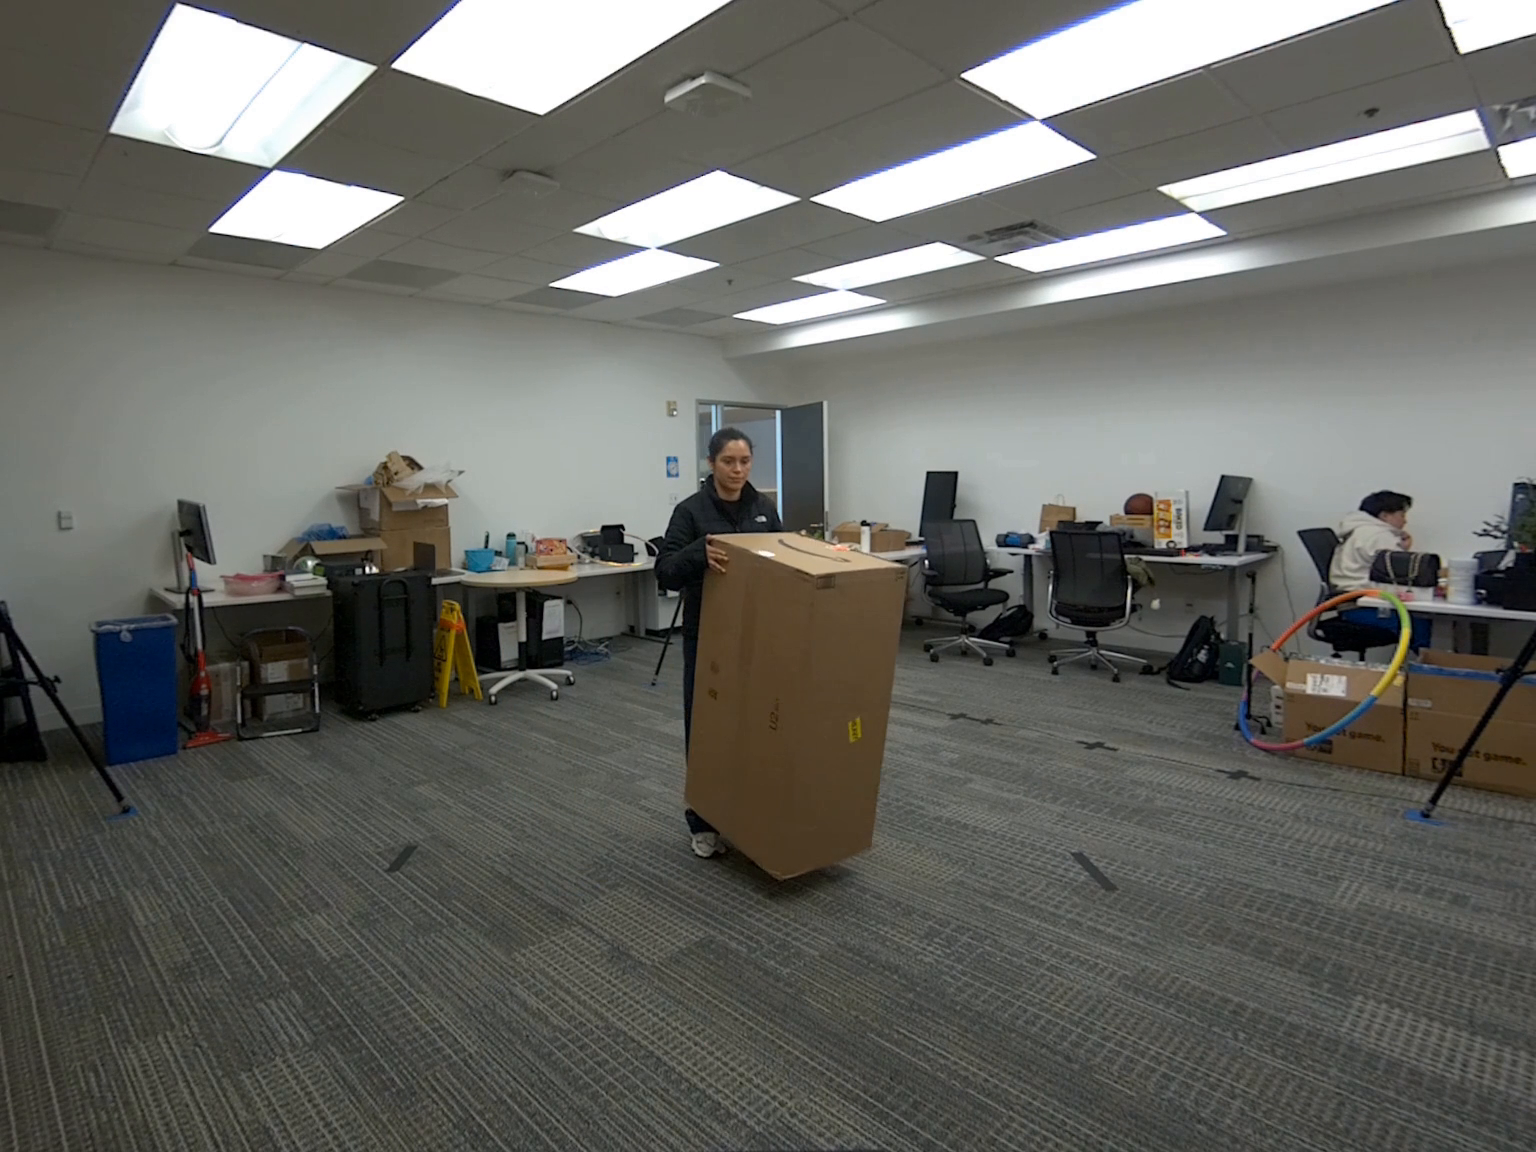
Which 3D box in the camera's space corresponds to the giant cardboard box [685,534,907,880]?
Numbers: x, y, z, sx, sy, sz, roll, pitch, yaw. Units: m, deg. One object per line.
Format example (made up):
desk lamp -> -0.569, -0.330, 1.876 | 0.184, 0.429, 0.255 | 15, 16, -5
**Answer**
giant cardboard box -> 0.080, 0.412, 3.009 | 0.415, 1.017, 0.598 | -3, 14, -38
